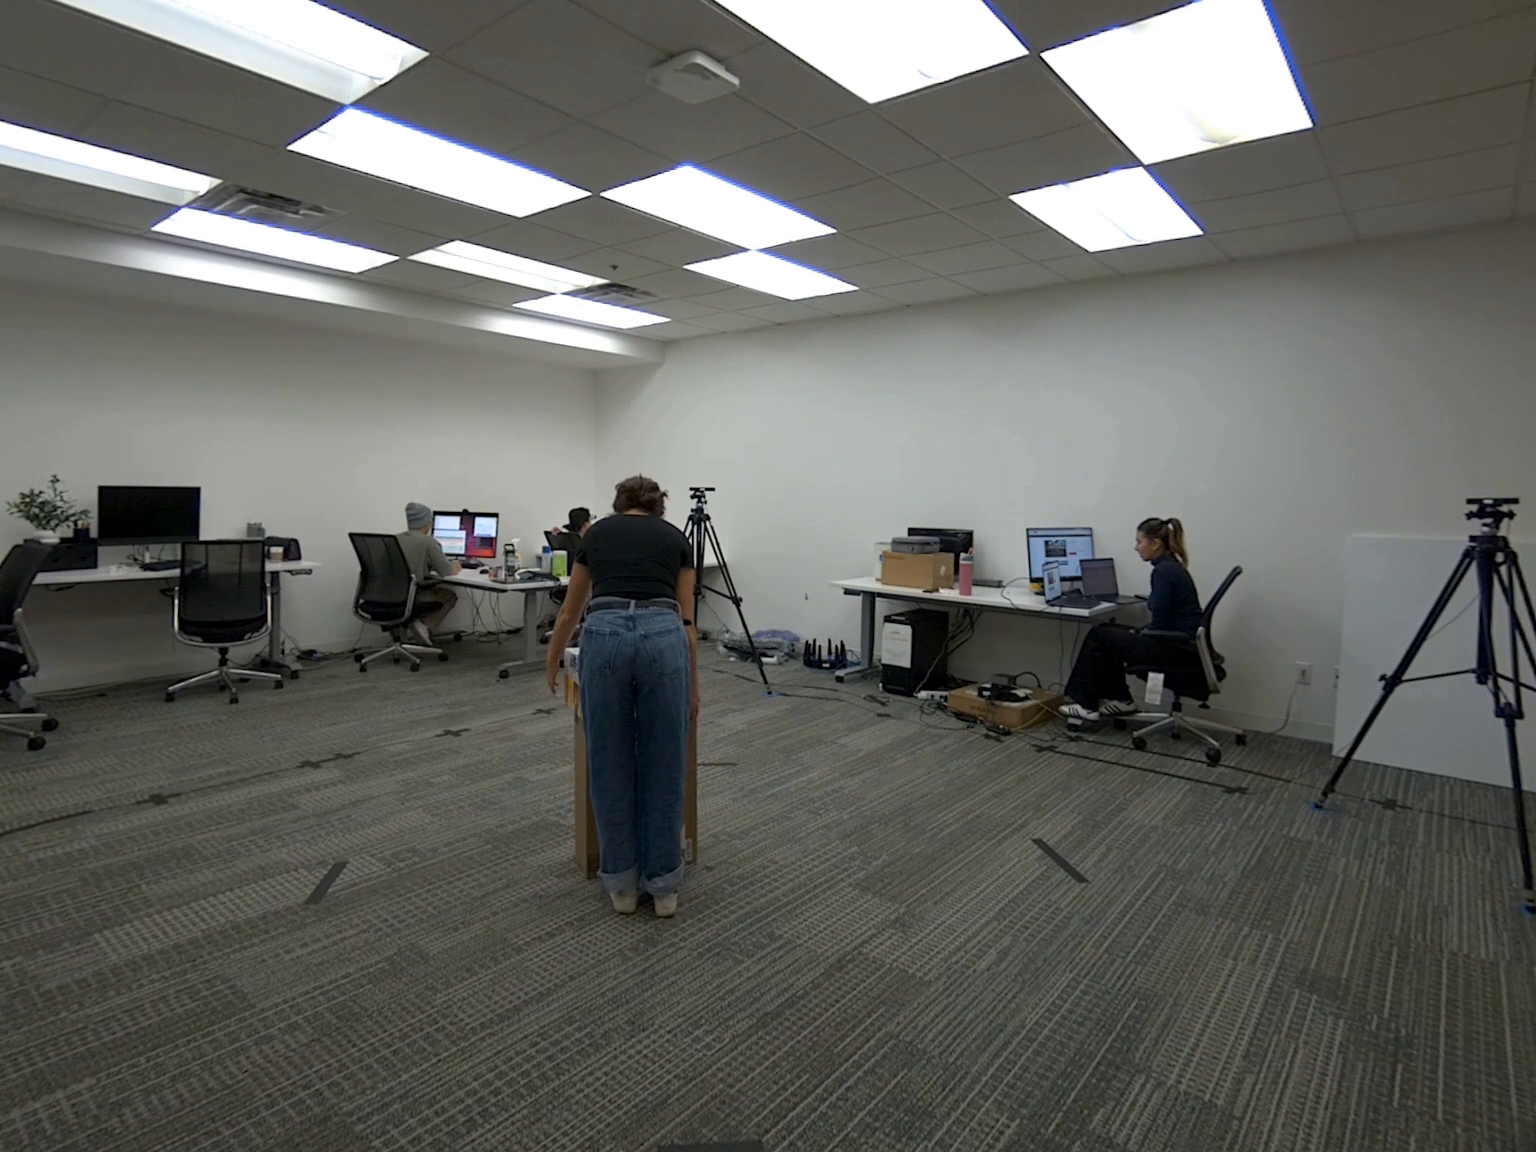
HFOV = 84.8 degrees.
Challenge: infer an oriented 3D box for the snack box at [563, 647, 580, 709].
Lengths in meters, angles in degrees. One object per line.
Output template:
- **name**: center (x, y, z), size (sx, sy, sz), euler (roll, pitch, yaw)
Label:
- **snack box**: center (-0.533, 0.385, 3.175), size (0.396, 0.205, 0.349), euler (-1, 5, -24)
